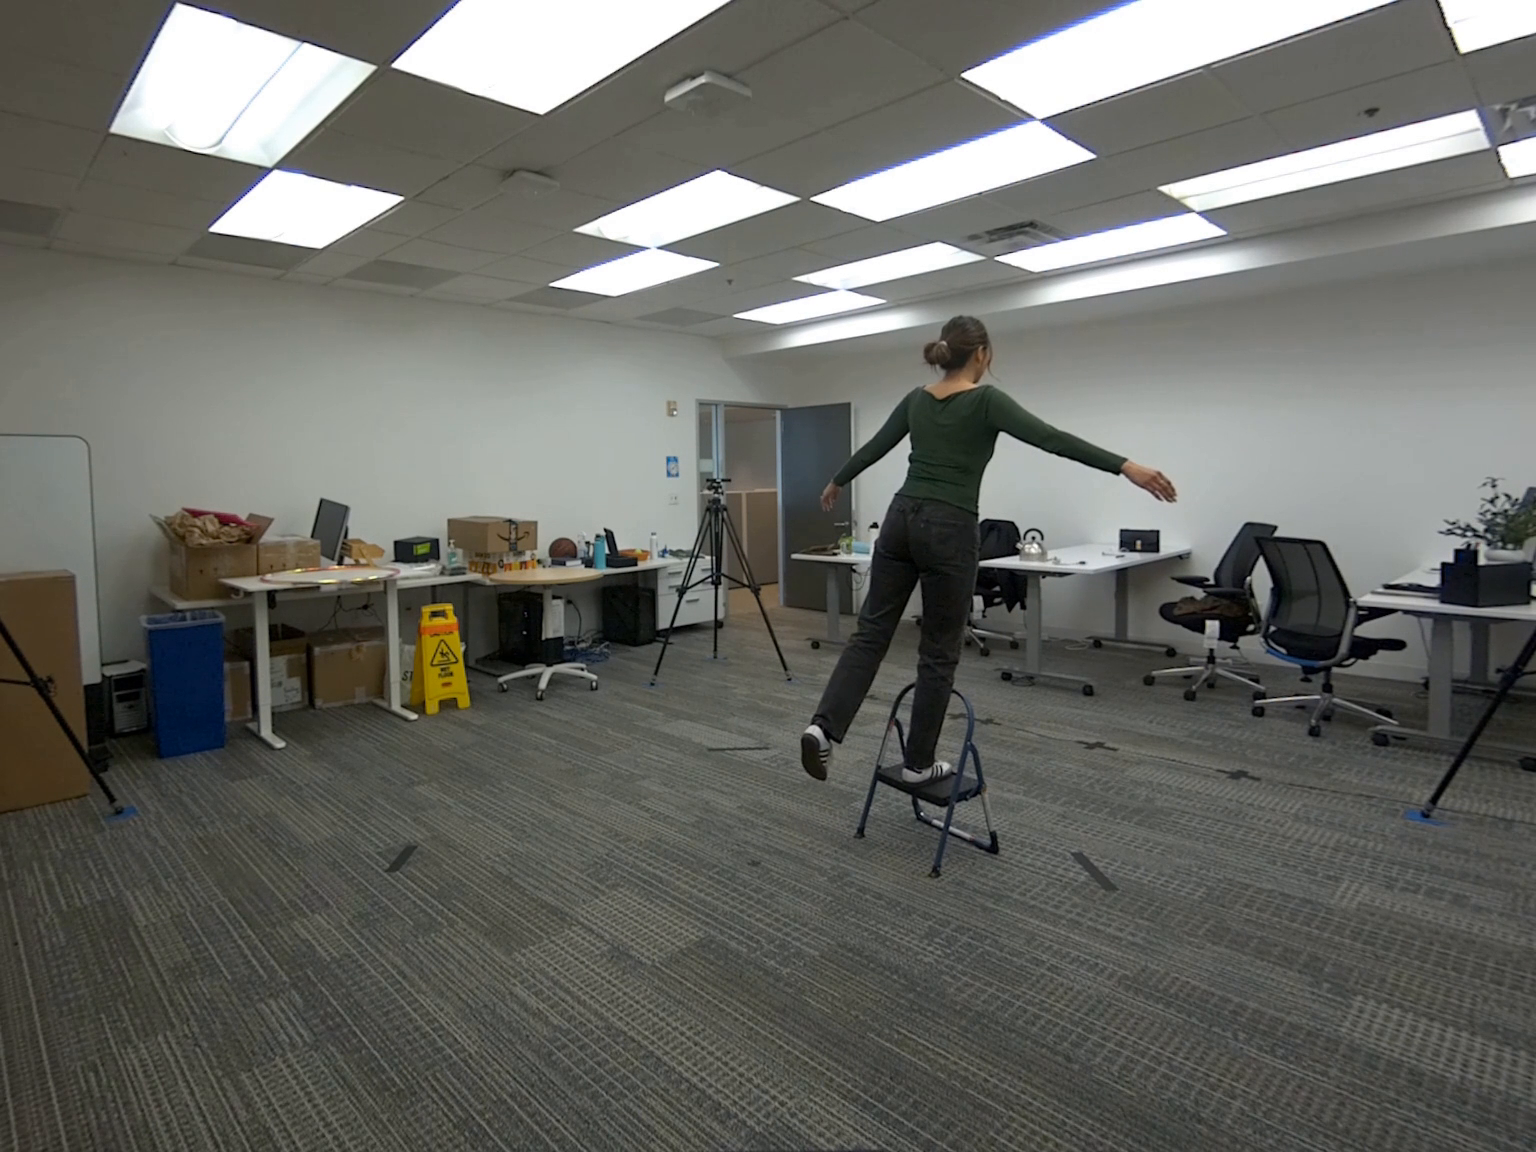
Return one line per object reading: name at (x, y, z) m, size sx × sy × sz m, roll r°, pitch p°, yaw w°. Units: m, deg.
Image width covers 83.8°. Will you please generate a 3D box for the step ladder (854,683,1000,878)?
step ladder at (0.593, 0.718, 3.217) m, size 0.340 × 0.604 × 0.443 m, roll -3°, pitch 5°, yaw -34°
